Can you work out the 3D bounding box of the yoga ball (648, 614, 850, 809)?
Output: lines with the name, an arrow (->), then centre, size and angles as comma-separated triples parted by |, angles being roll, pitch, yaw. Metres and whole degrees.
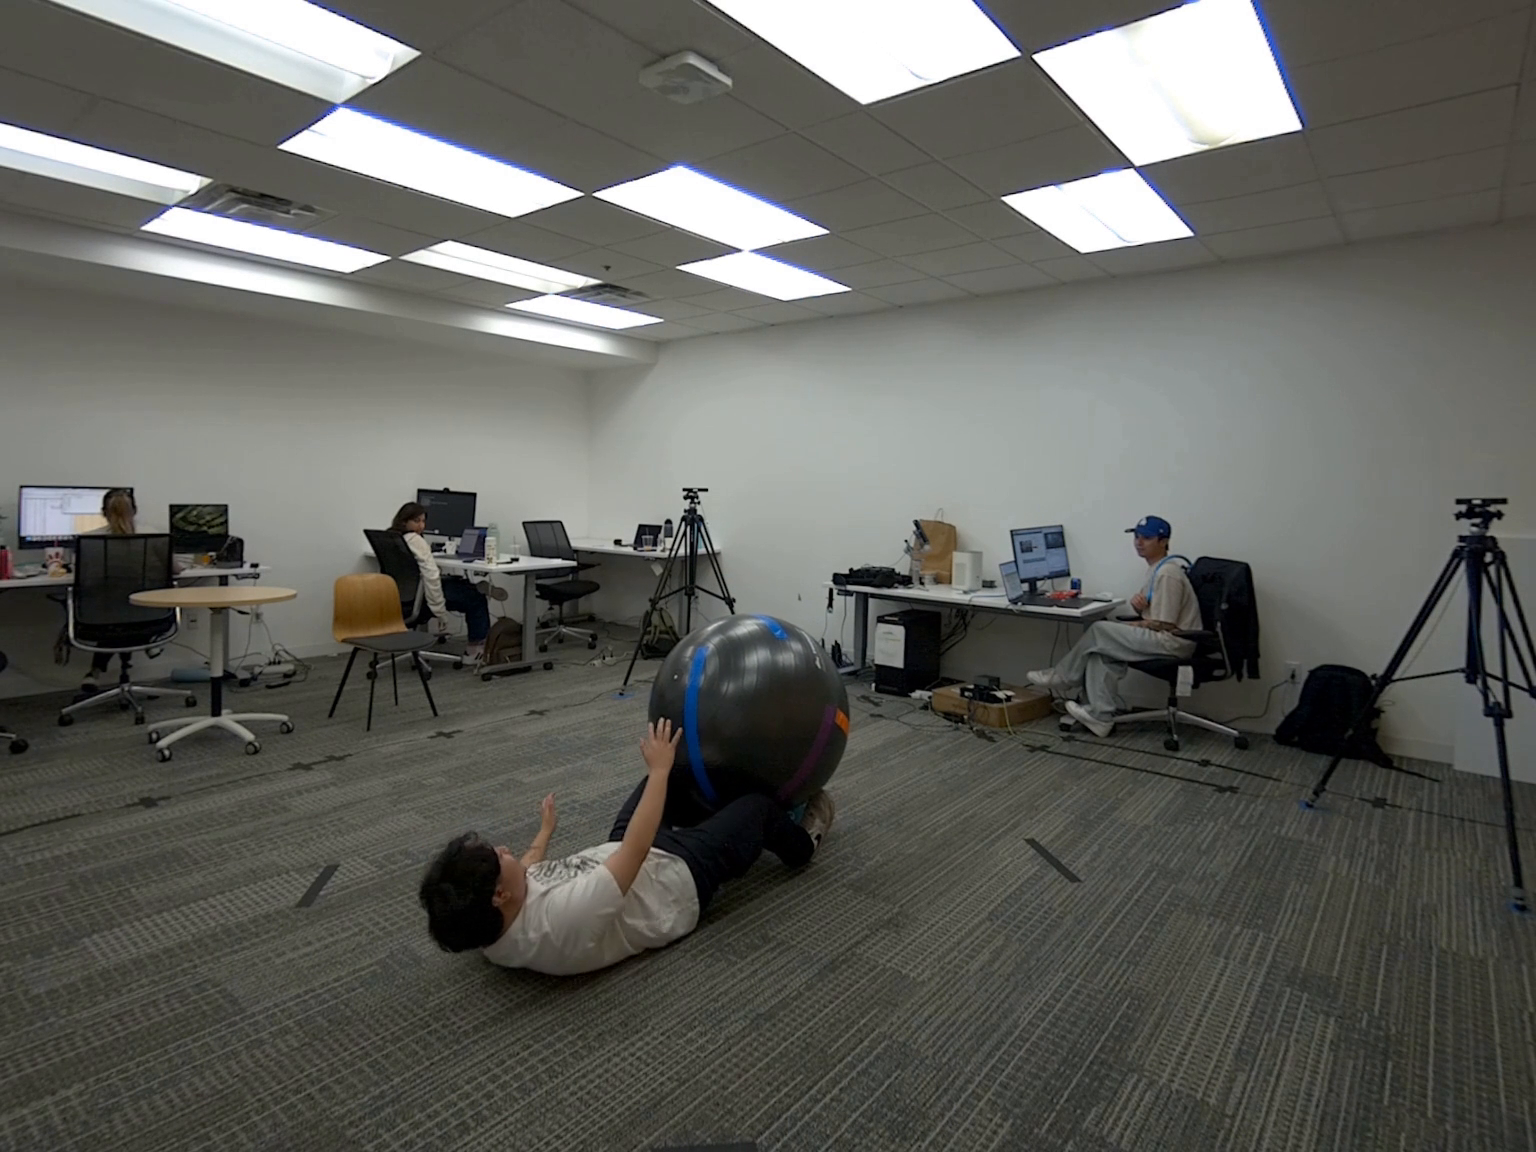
yoga ball -> -0.083, 0.517, 3.221 | 0.757, 0.755, 0.762 | 1, 4, -2
